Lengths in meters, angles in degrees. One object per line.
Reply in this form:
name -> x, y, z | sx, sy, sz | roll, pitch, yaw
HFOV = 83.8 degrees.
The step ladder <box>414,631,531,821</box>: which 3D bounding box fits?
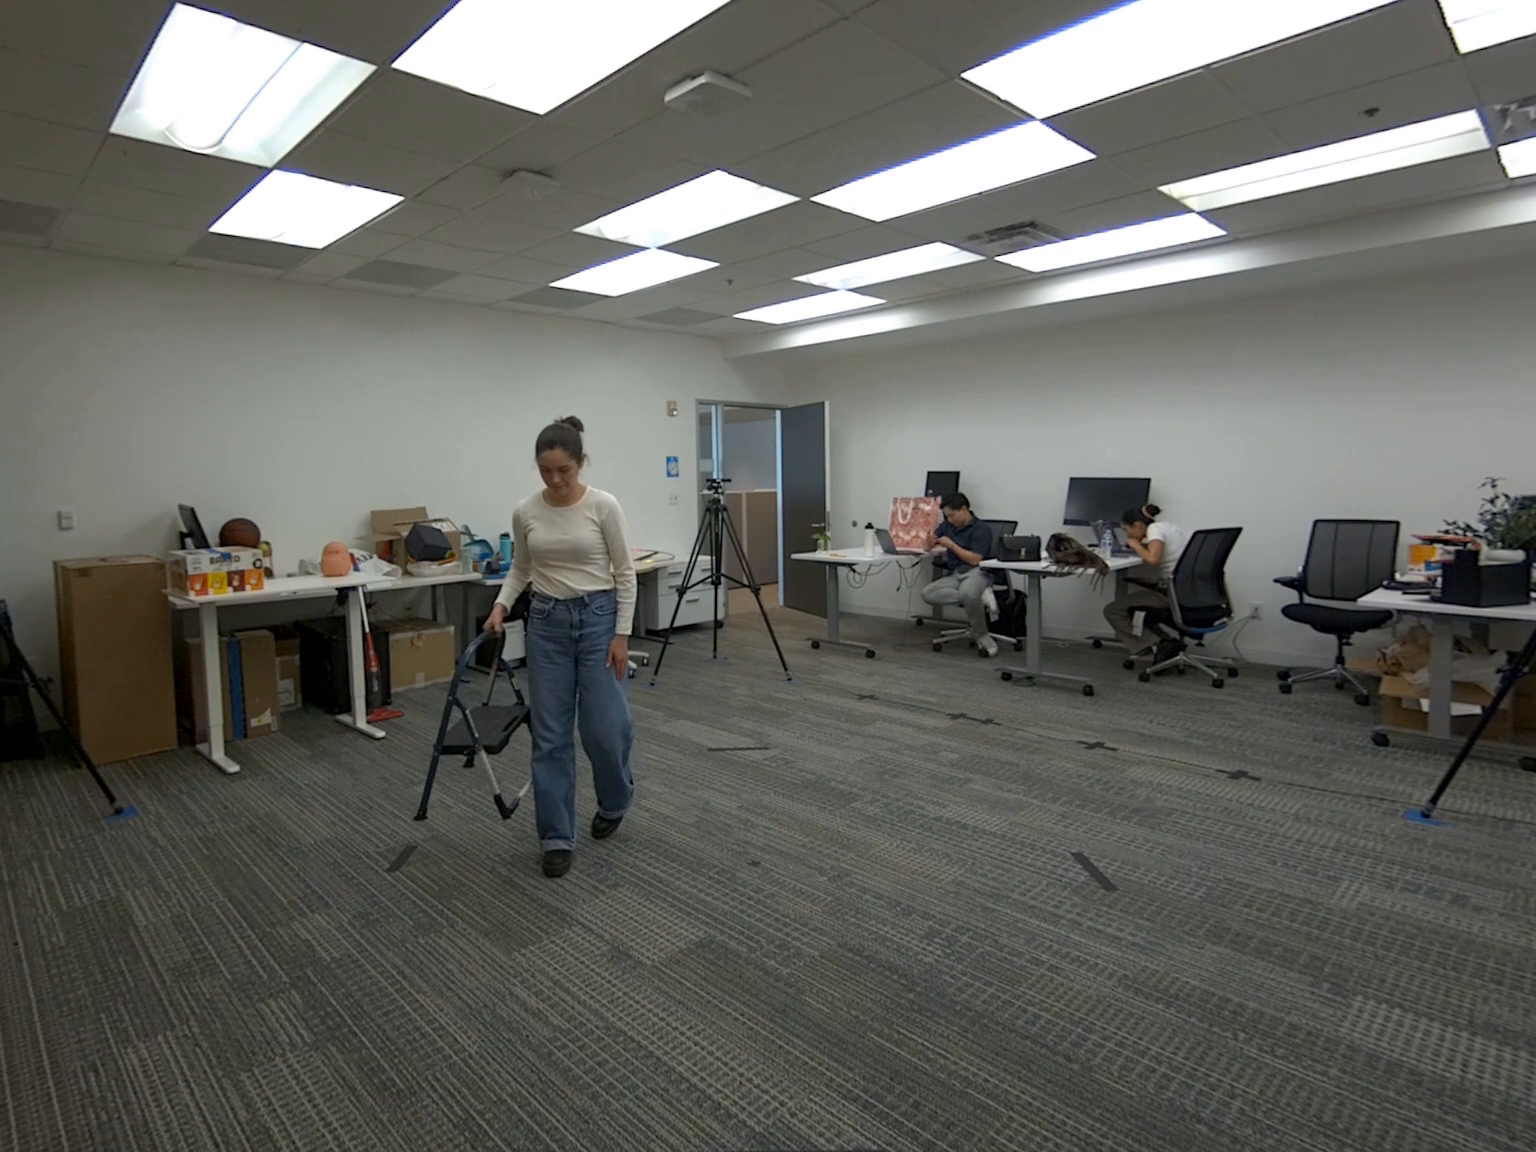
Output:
step ladder -> -1.054, 0.502, 3.067 | 0.352, 0.600, 0.432 | -2, 11, 6
